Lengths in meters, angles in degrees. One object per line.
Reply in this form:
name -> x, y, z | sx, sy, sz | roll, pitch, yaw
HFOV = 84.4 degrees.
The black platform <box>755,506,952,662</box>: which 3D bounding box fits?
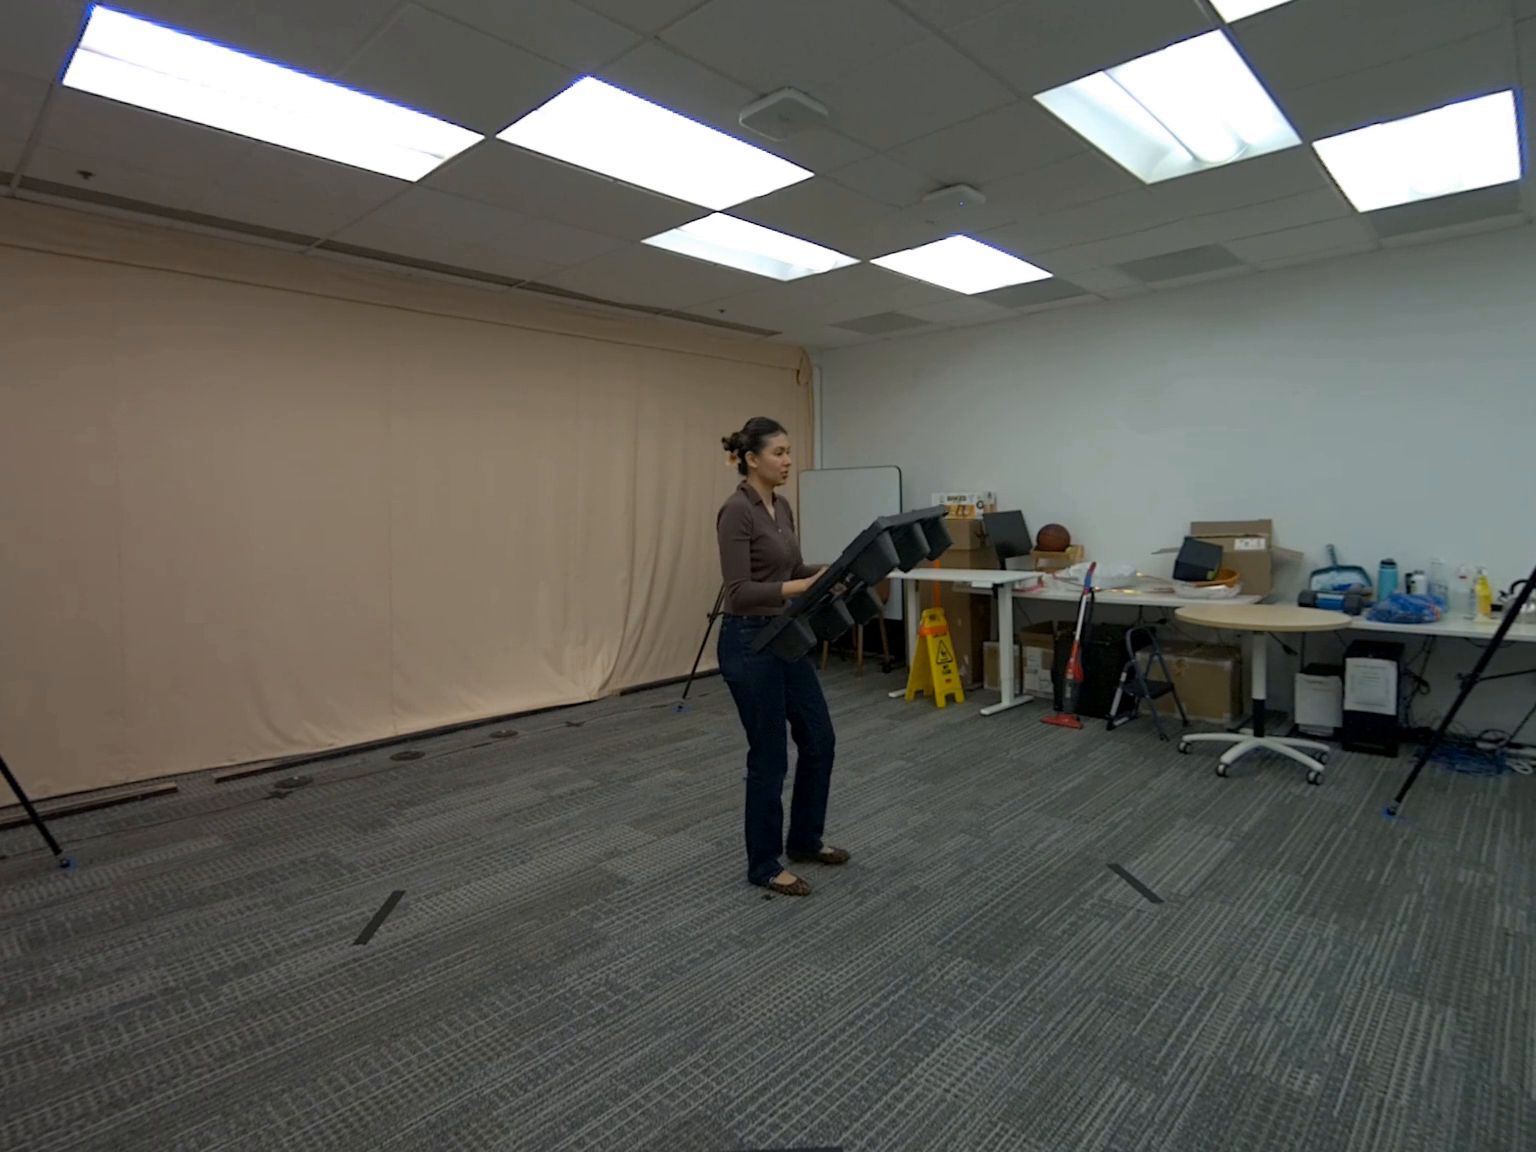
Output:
black platform -> 0.345, 0.024, 2.872 | 0.609, 0.145, 0.787 | -45, -13, 24
